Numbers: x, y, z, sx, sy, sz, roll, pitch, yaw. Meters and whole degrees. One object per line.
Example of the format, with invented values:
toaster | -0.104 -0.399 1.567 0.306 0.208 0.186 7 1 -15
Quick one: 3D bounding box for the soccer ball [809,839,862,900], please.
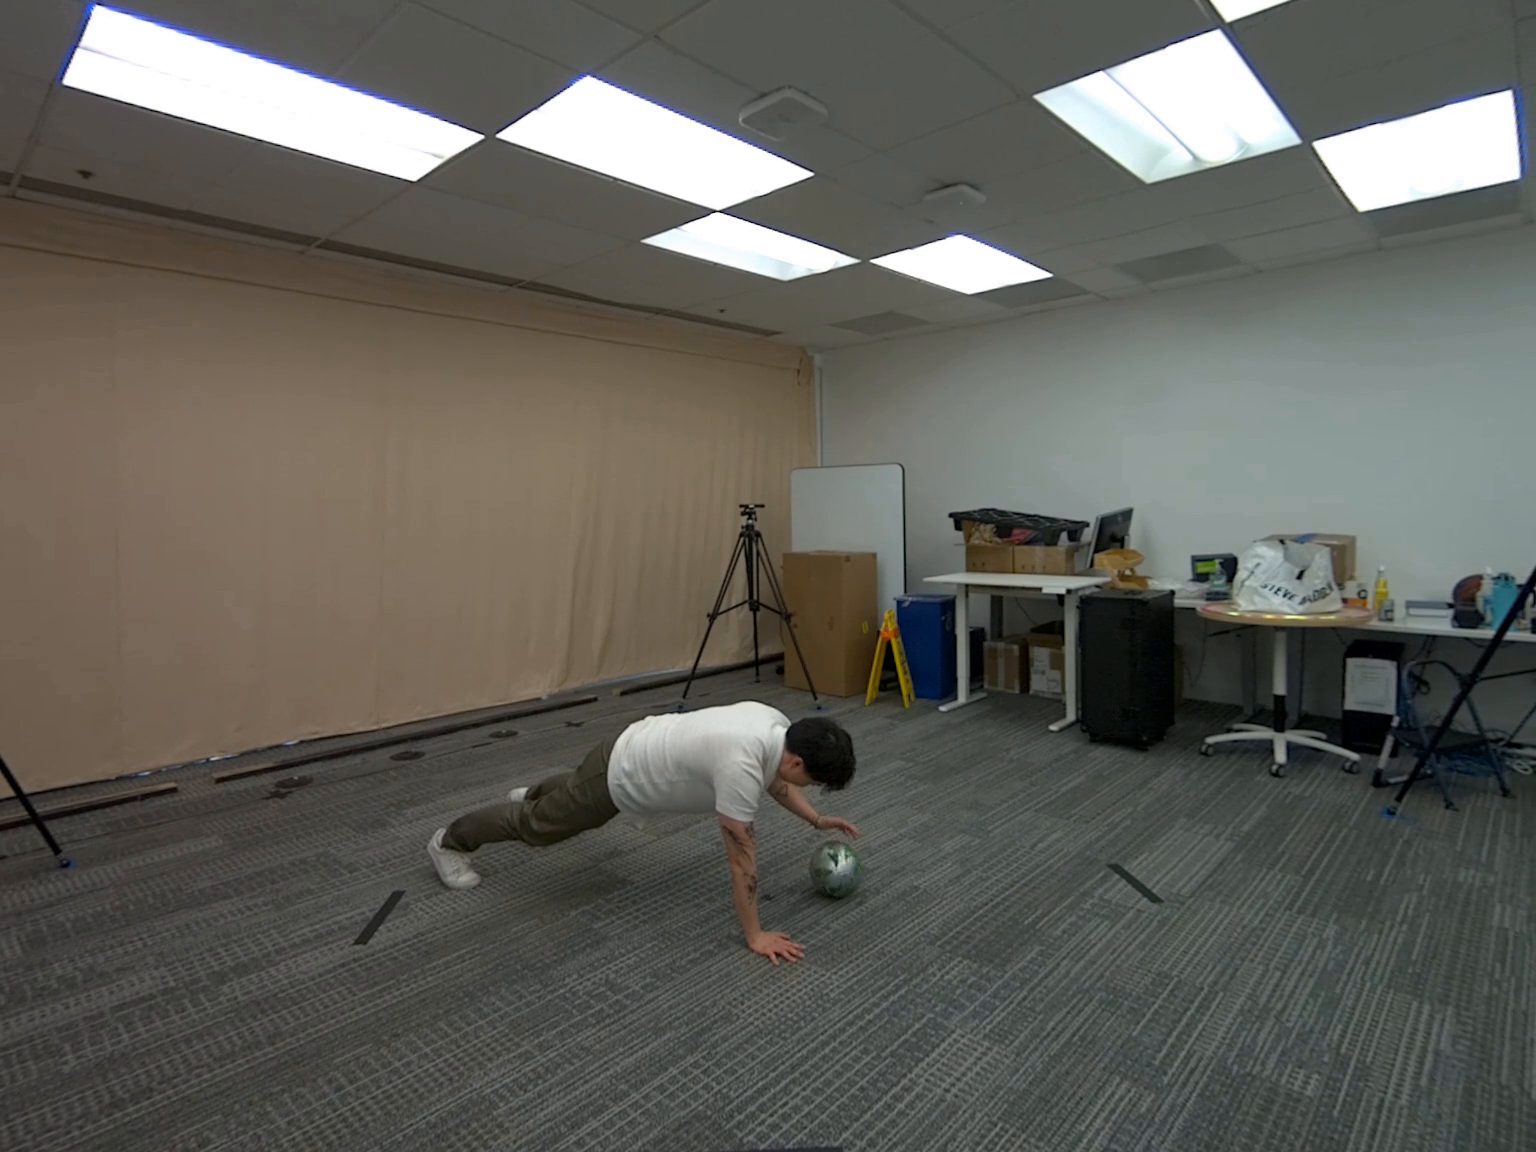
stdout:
soccer ball | 0.239 1.042 2.984 0.187 0.187 0.188 -1 4 -2
